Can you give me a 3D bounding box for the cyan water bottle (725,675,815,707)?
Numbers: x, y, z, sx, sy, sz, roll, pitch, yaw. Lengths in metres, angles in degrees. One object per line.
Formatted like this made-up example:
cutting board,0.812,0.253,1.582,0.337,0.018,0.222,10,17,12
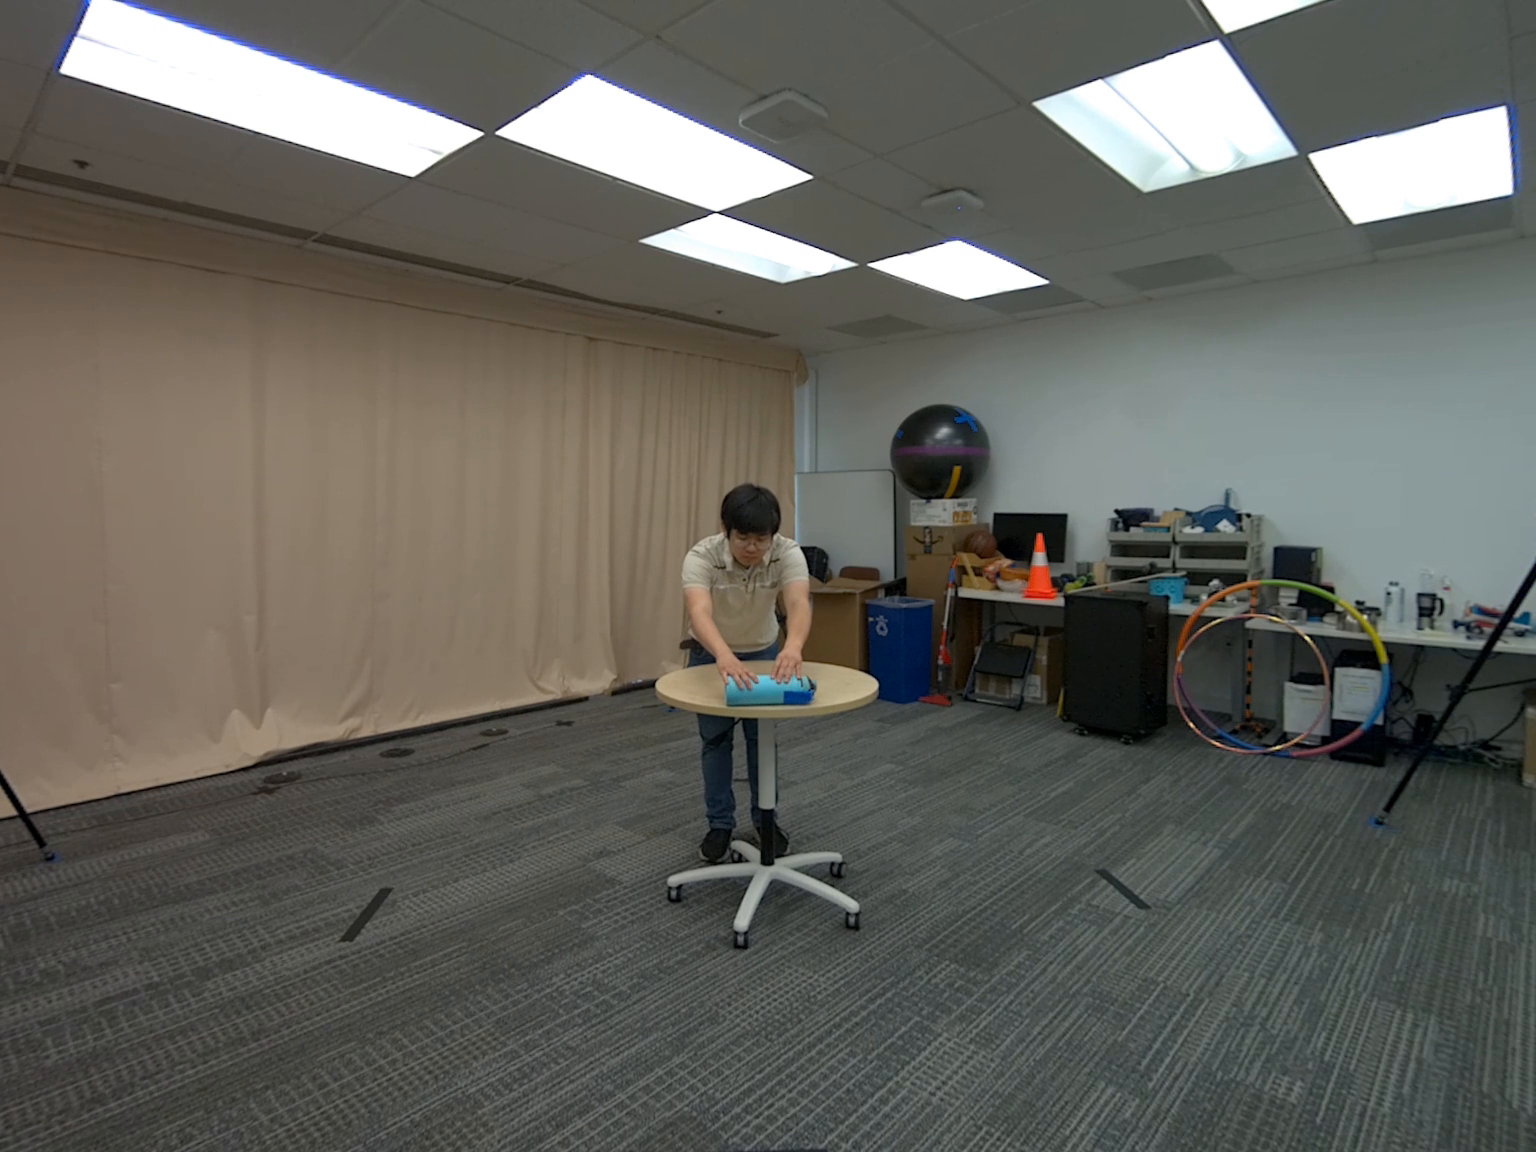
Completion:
cyan water bottle,0.013,0.354,2.605,0.283,0.092,0.092,1,4,-1
